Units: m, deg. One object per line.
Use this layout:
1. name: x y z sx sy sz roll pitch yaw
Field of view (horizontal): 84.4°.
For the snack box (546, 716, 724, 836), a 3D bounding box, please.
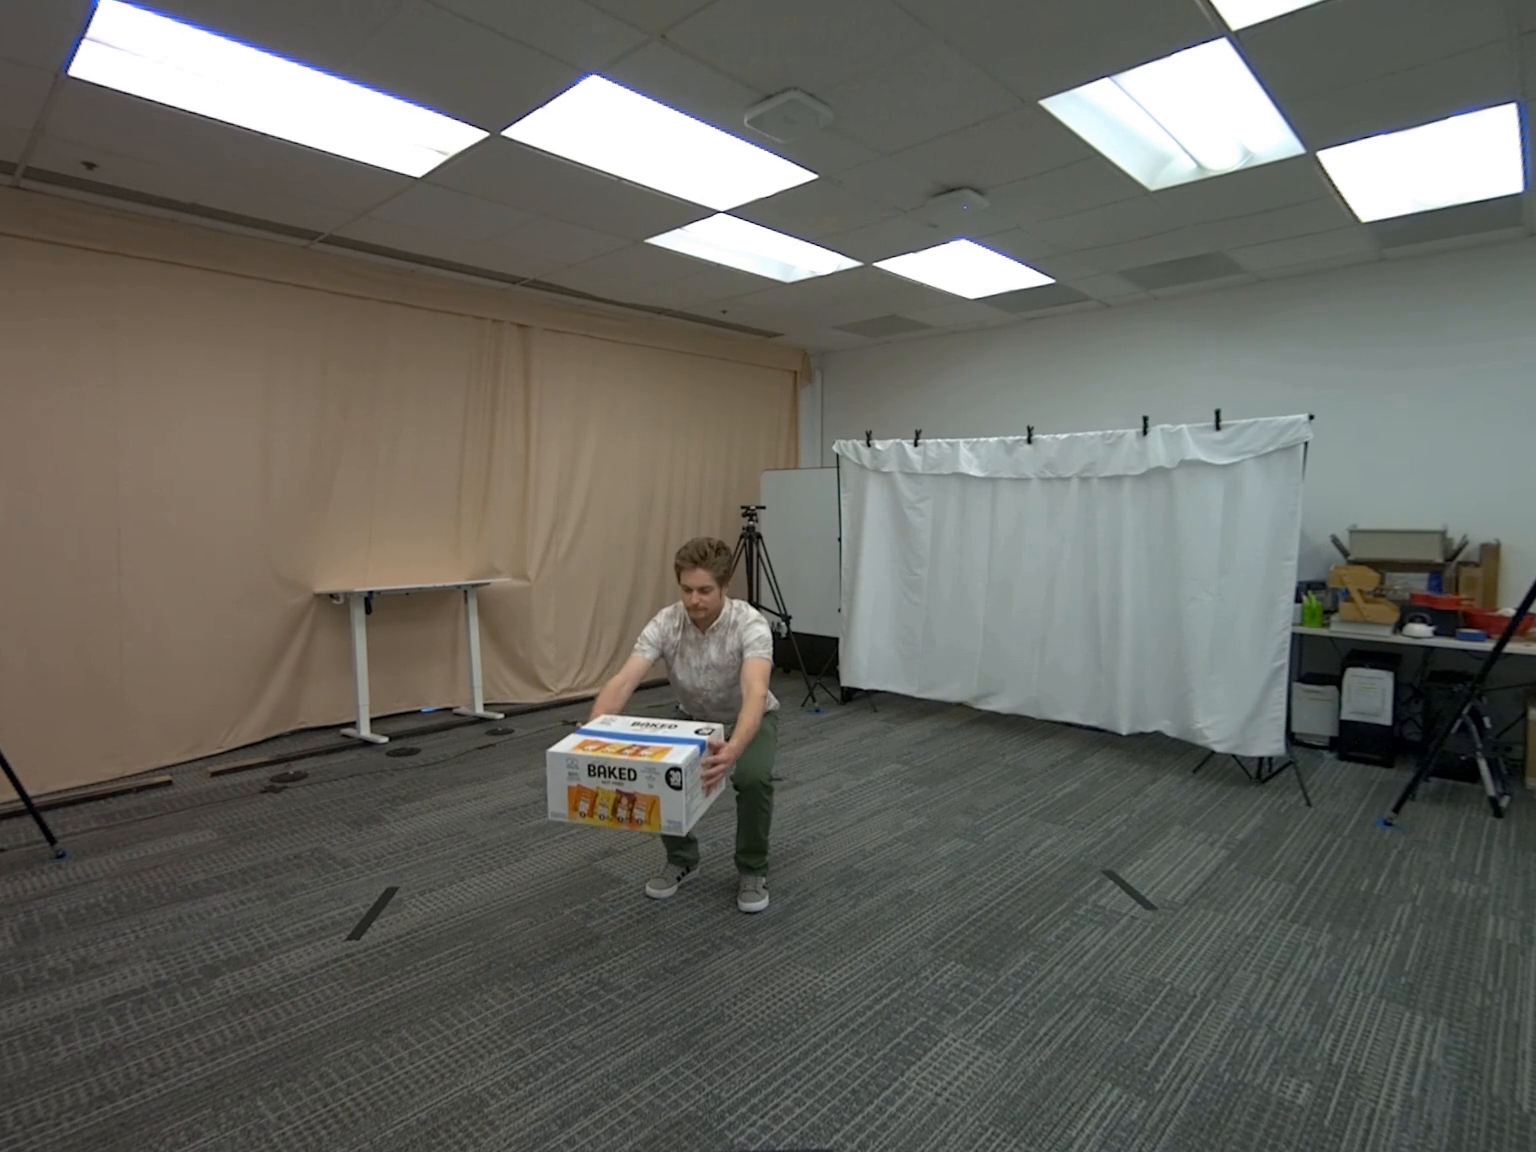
1. snack box: -0.371 0.554 2.421 0.413 0.205 0.335 1 8 17
